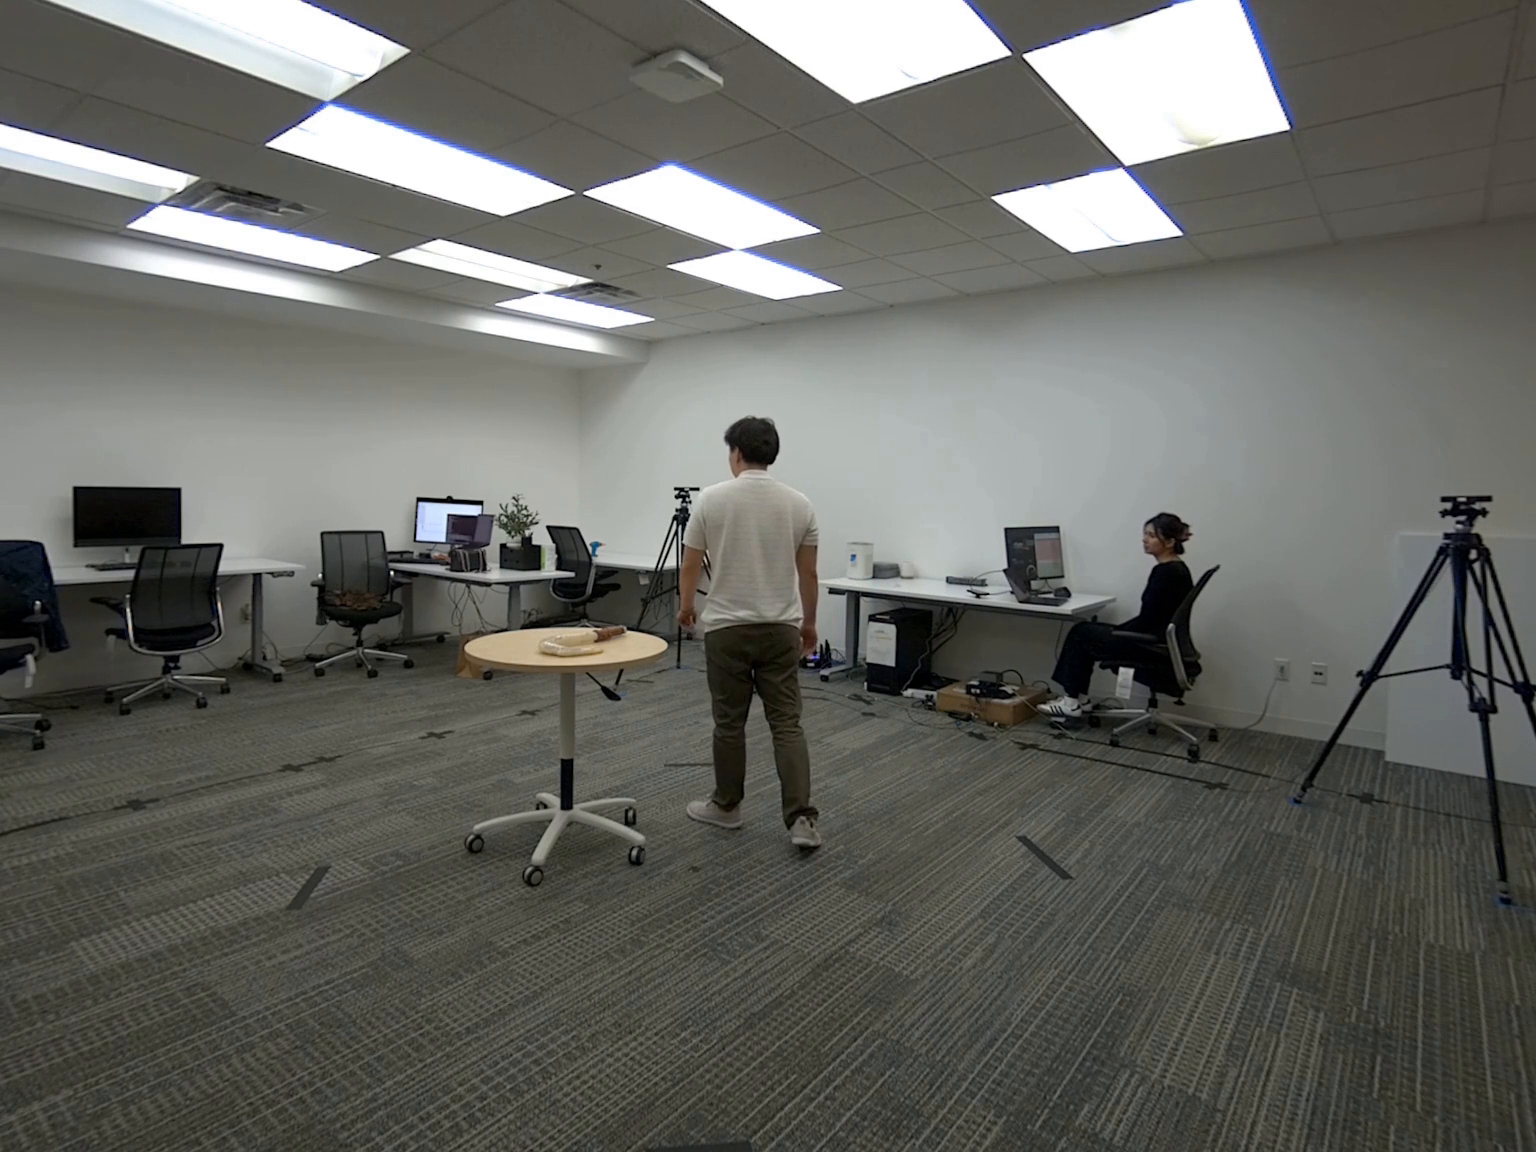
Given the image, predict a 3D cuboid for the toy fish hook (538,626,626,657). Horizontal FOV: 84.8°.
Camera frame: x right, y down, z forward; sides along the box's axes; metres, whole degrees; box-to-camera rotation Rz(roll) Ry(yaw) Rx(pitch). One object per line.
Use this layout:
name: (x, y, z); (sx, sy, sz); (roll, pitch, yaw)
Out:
toy fish hook: (-0.681, 0.254, 3.265); (0.232, 0.048, 0.494); (12, 11, 27)
